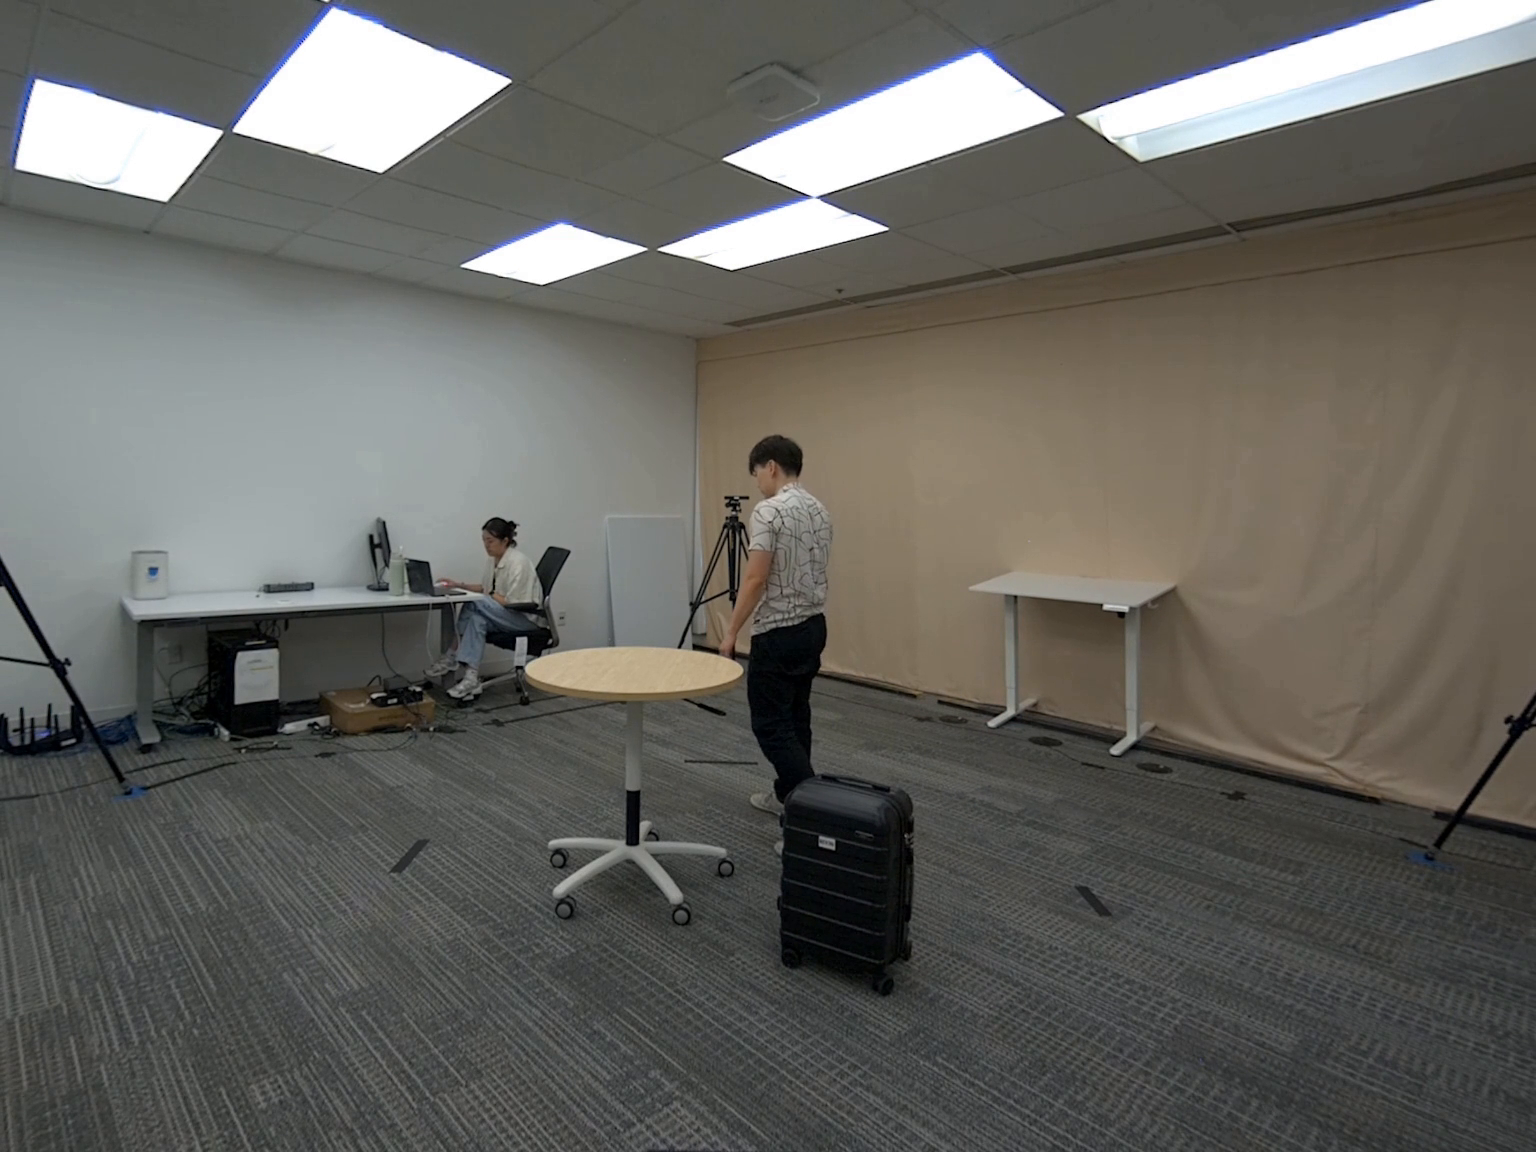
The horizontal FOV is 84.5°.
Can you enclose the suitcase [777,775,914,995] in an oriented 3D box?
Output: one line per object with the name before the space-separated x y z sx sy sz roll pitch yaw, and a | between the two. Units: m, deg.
suitcase | 0.235 0.896 2.521 0.383 0.548 0.243 3 4 30
